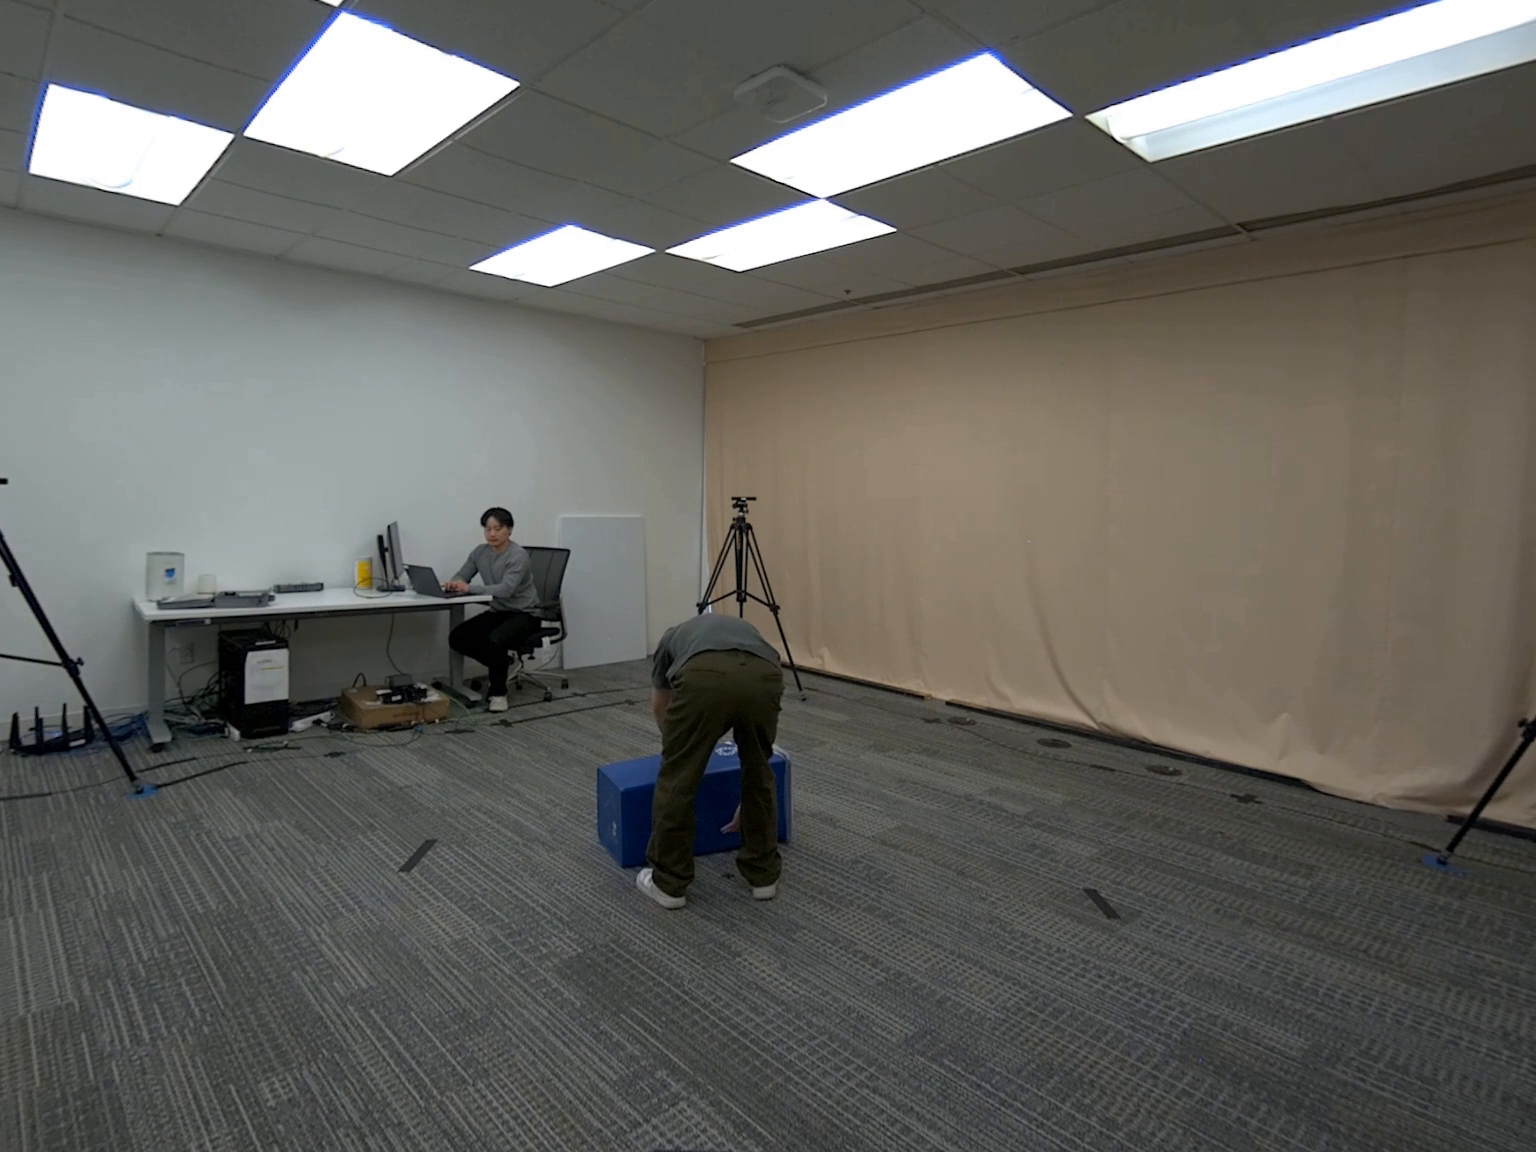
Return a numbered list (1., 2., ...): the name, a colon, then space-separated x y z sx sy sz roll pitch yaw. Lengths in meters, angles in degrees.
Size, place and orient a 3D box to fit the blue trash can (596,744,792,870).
1. blue trash can: -0.309 0.915 3.408 0.701 0.372 0.386 -4 7 -26
